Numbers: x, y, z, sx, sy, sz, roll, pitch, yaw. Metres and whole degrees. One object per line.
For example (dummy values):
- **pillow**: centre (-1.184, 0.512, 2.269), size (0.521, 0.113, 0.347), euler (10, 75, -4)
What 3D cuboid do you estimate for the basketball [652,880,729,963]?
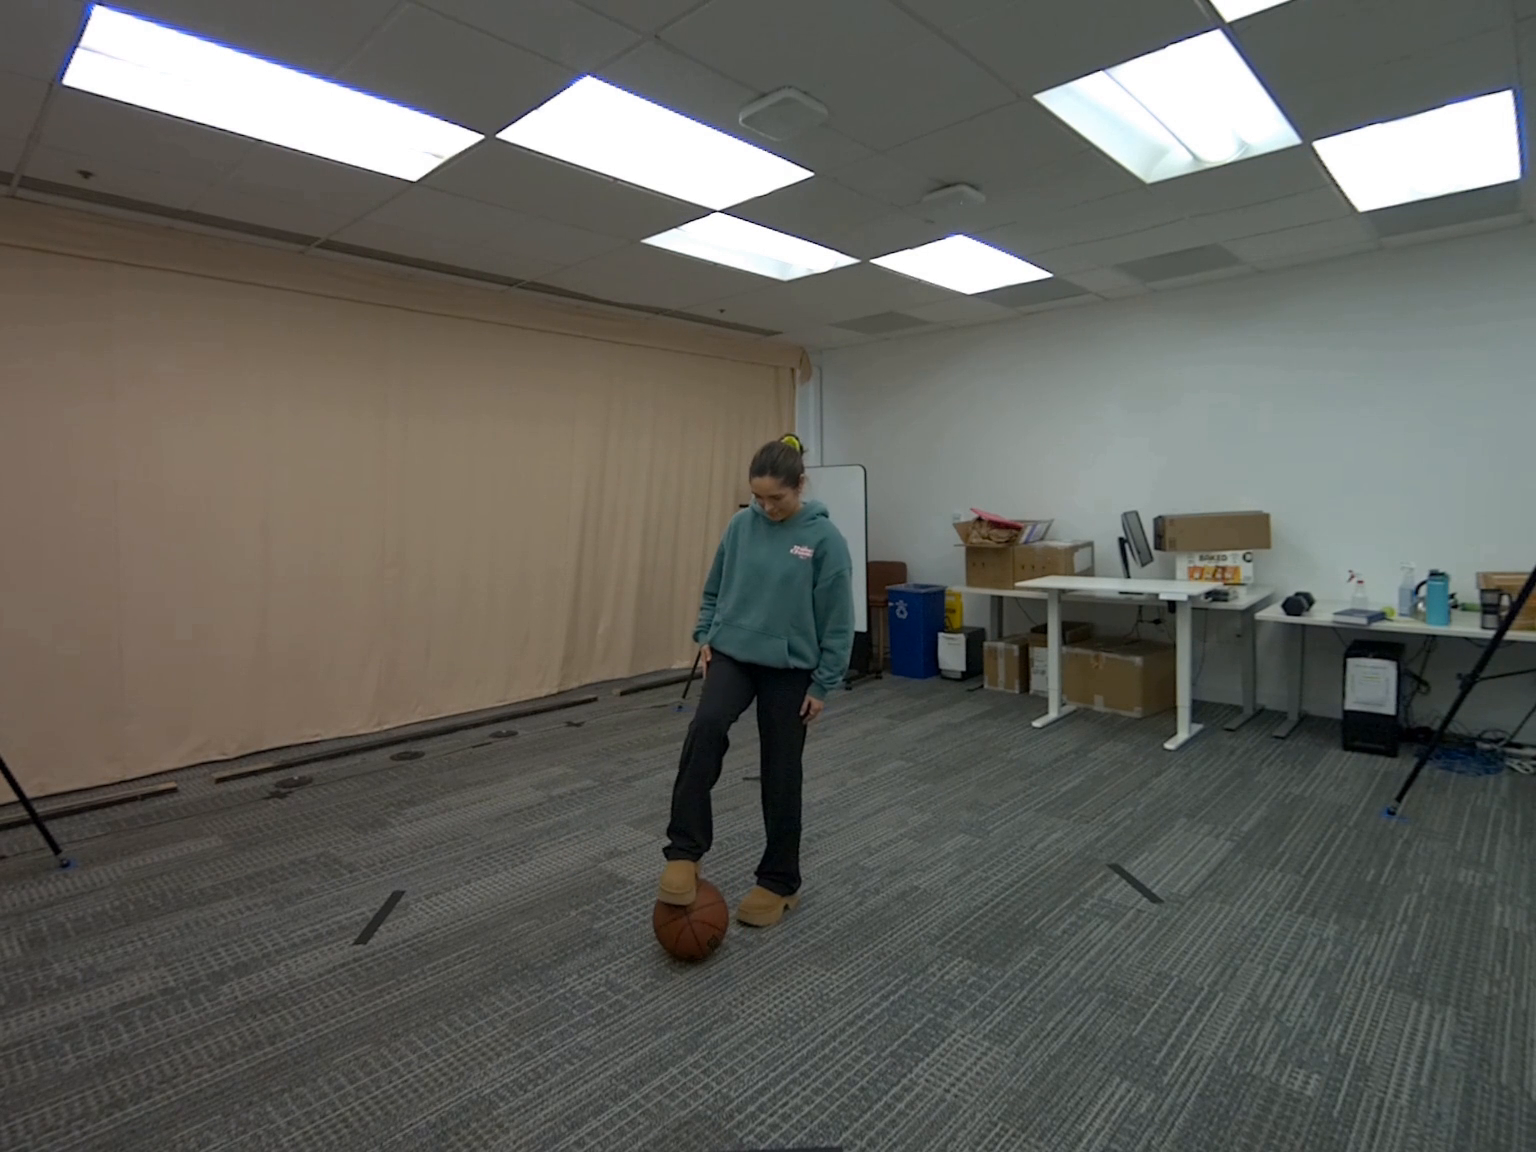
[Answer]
- **basketball**: centre (-0.233, 1.062, 2.608), size (0.236, 0.235, 0.237), euler (-1, 4, -2)
